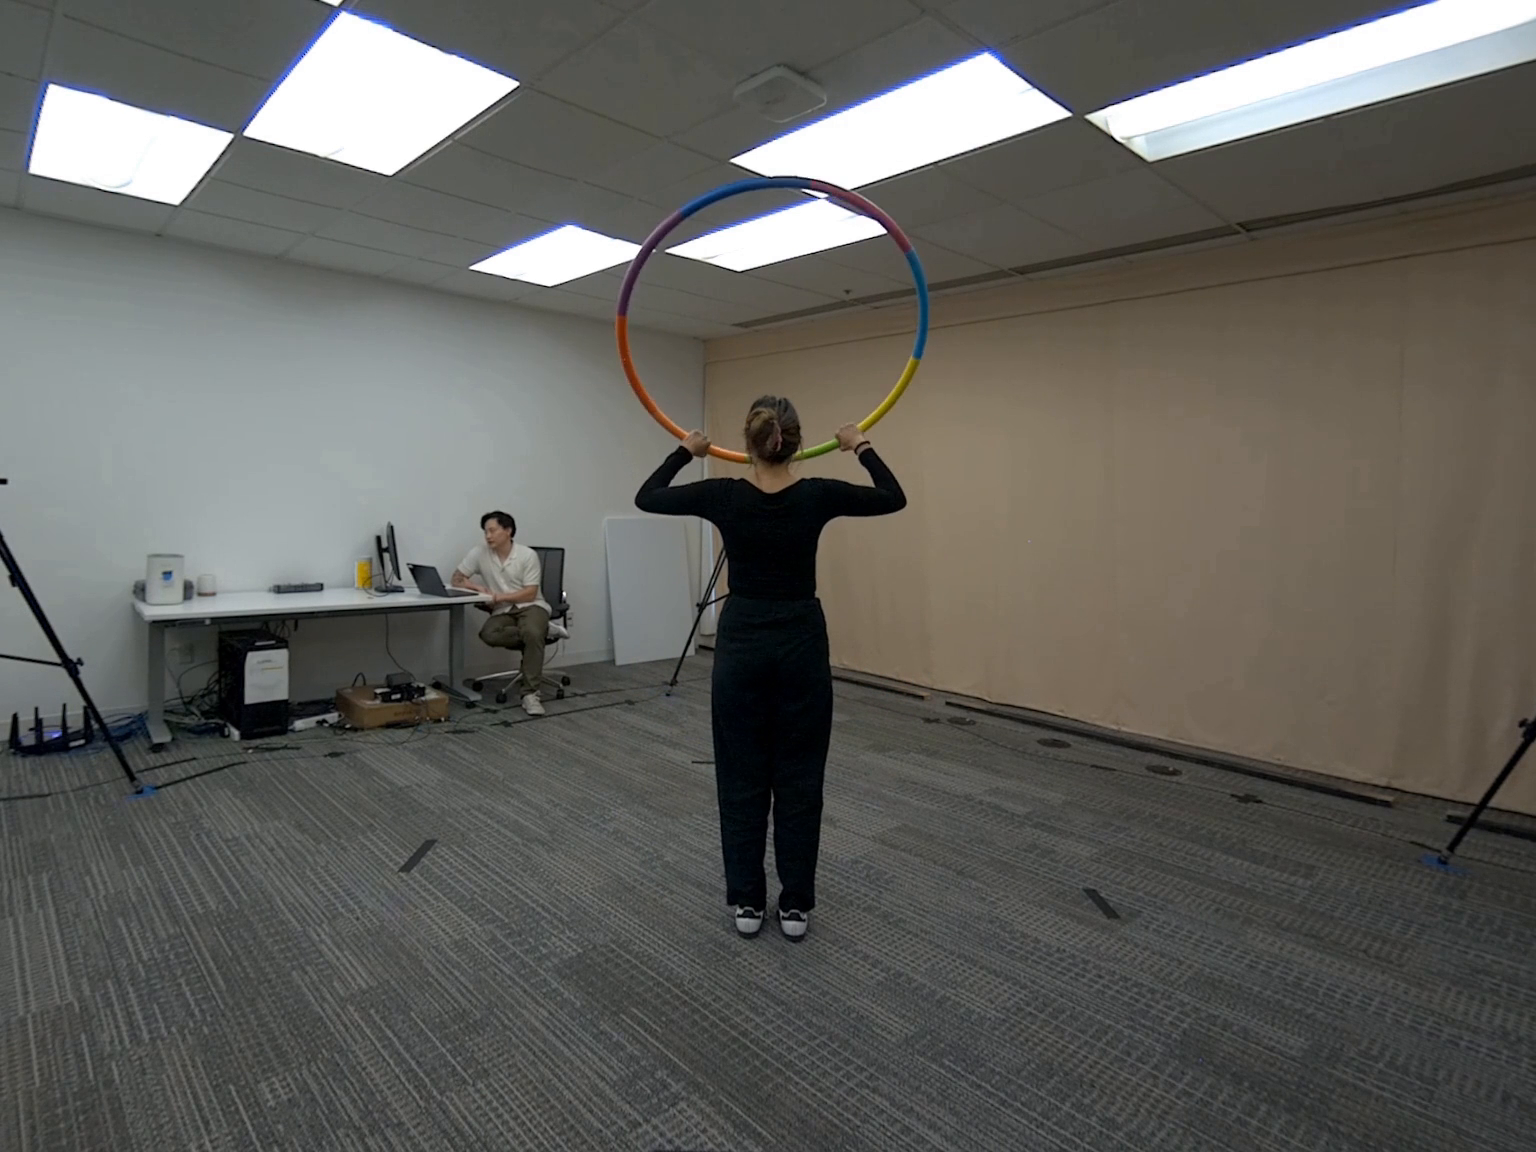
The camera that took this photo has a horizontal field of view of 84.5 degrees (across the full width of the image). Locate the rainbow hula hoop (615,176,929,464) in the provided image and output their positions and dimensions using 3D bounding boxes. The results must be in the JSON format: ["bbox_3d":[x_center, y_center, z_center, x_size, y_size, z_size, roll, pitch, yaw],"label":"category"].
[{"bbox_3d":[0.011,-0.743,2.670,0.975,0.959,0.036,2,43,-4],"label":"rainbow hula hoop"}]
